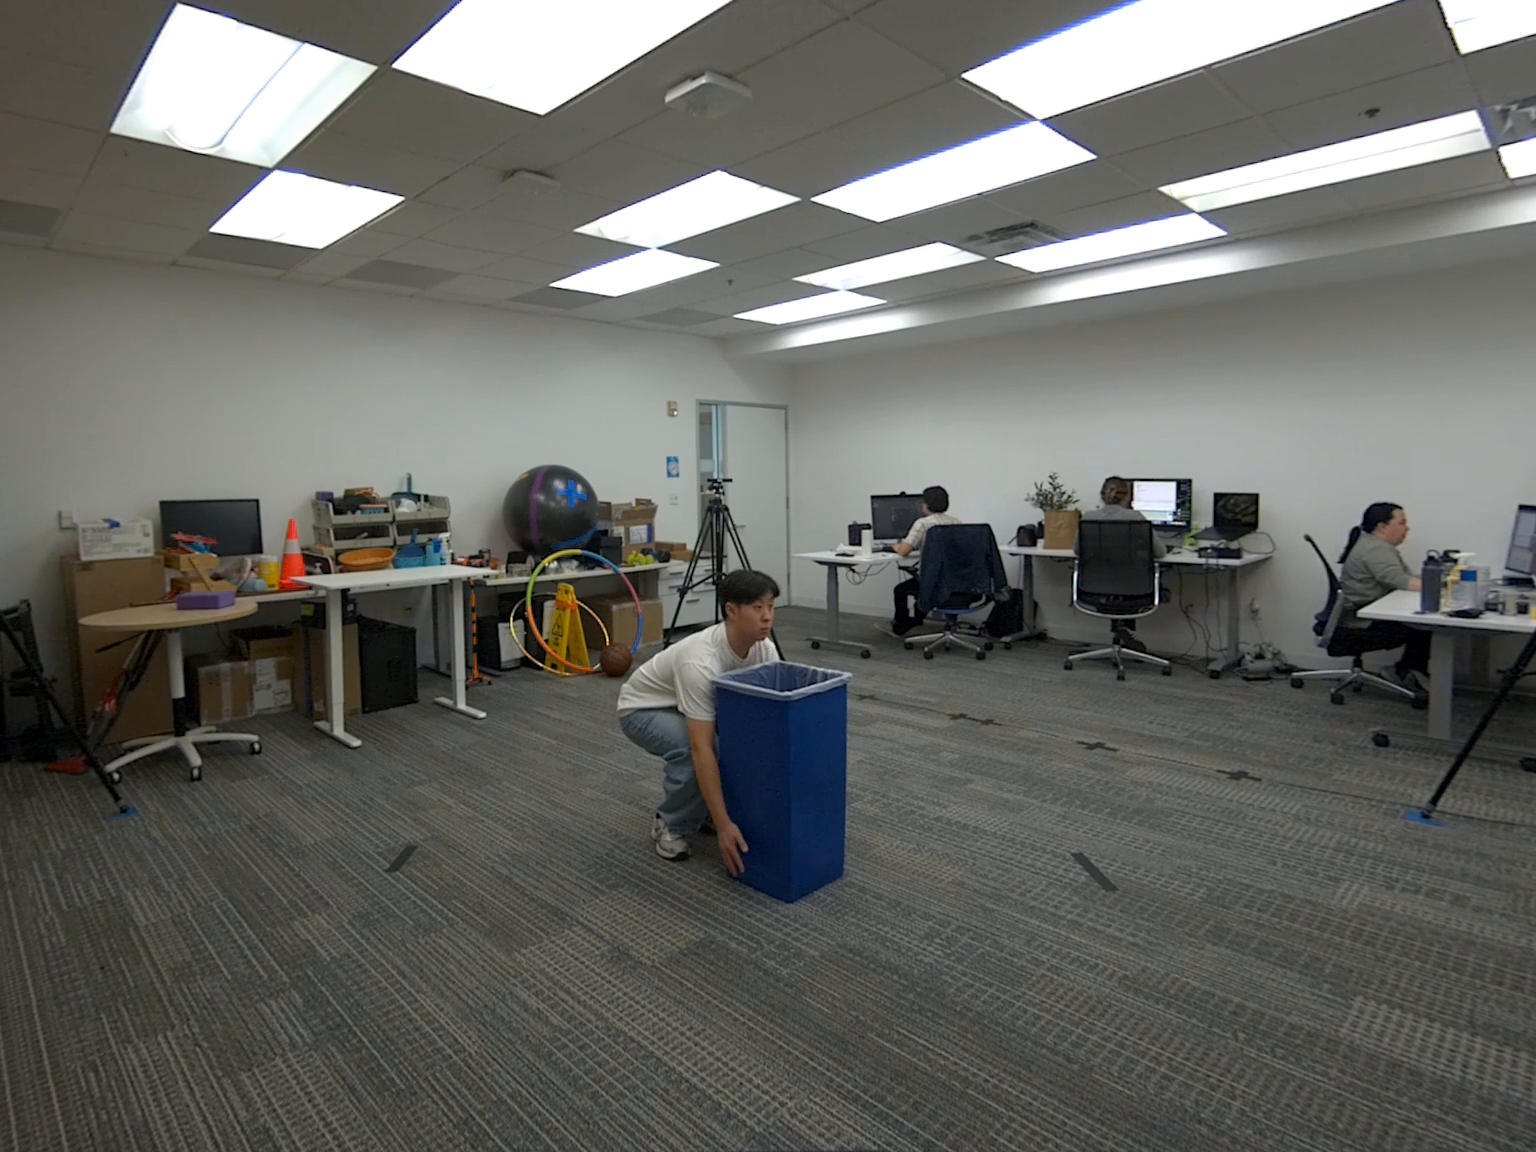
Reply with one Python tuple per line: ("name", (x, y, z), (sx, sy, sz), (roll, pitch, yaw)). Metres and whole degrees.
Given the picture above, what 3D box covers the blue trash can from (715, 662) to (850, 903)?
("blue trash can", (0.060, 0.701, 2.978), (0.389, 0.711, 0.364), (2, 5, 43))
